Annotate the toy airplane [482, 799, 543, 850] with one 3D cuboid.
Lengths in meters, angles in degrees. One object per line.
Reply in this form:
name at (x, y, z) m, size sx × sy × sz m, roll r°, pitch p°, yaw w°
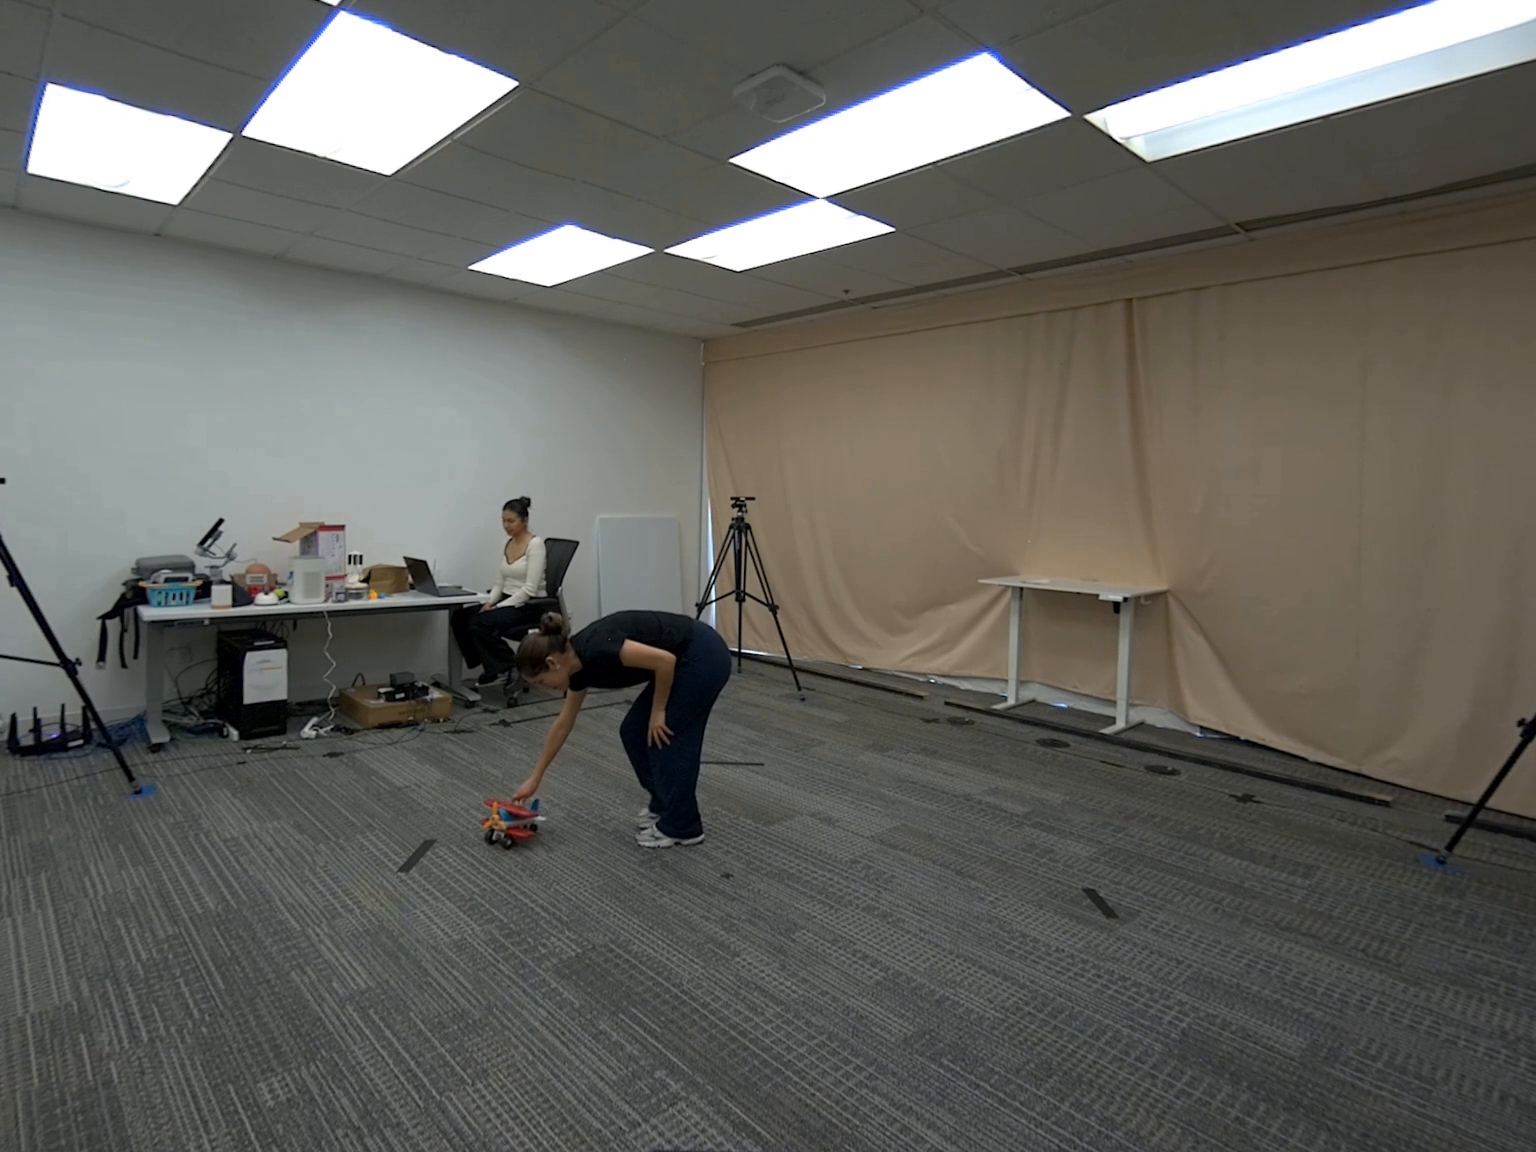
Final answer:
toy airplane at (-1.037, 0.985, 3.384) m, size 0.251 × 0.156 × 0.260 m, roll 4°, pitch 6°, yaw 2°
